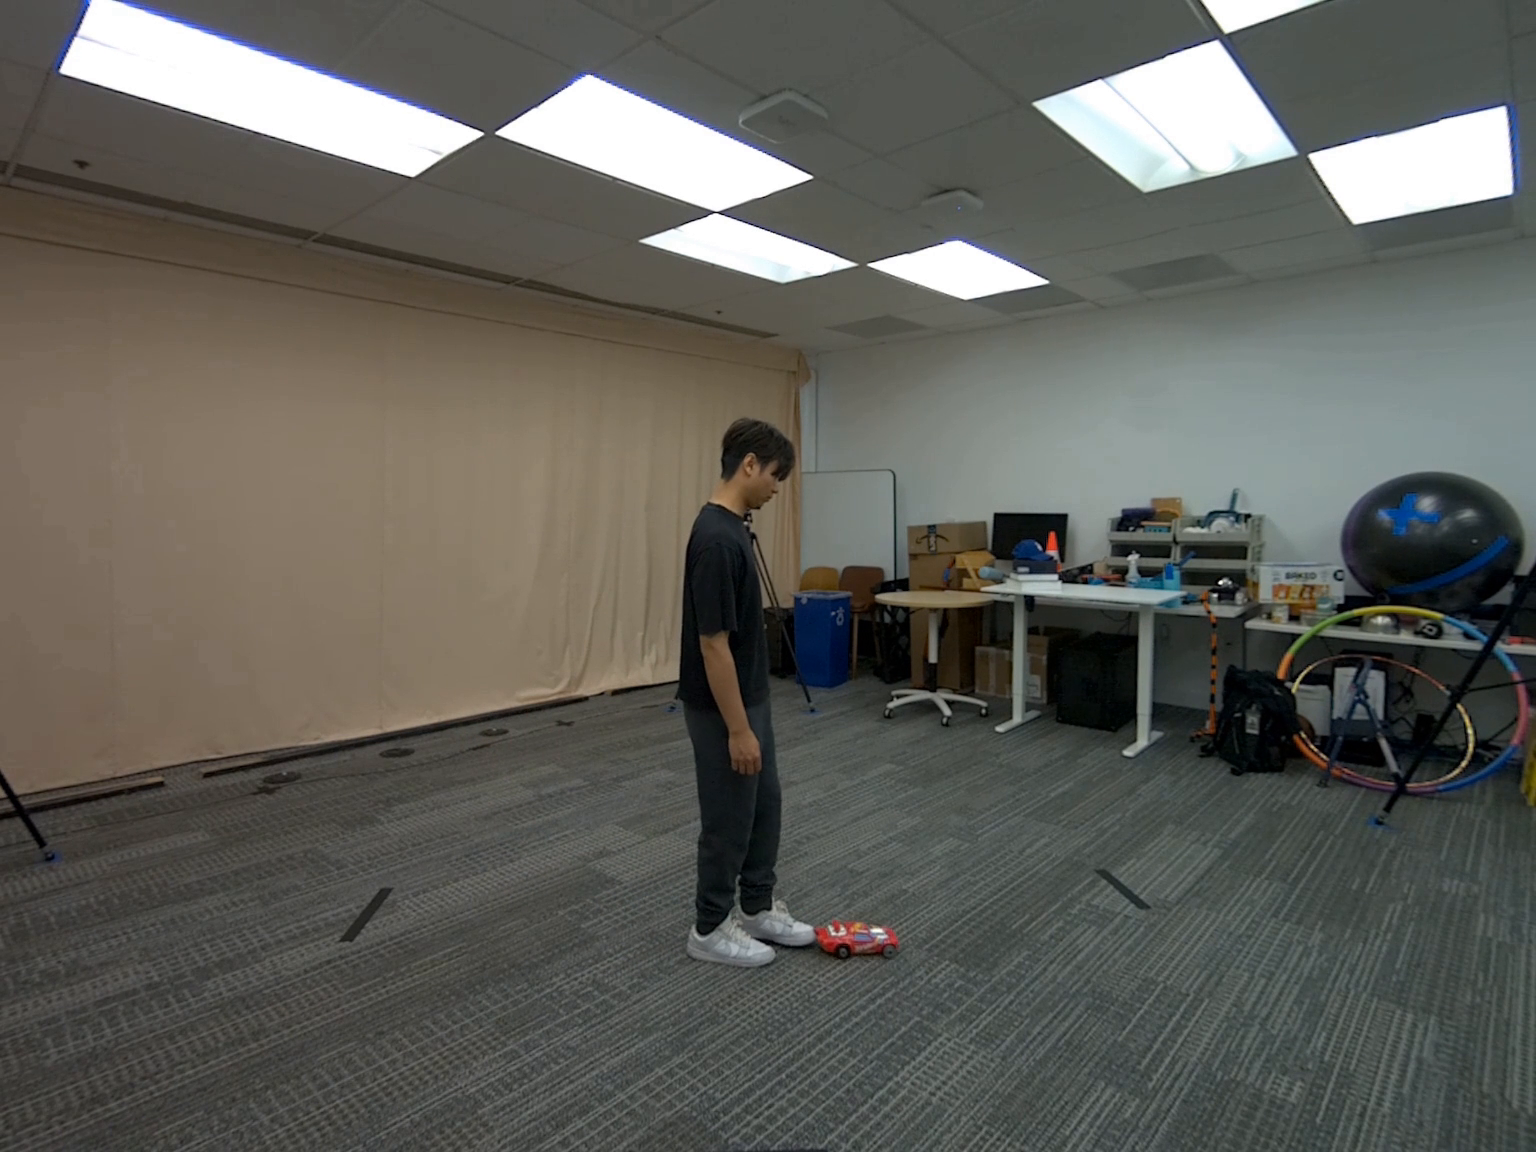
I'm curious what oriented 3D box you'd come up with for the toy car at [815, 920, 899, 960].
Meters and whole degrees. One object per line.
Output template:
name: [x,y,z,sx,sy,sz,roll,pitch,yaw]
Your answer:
toy car: [0.276,1.141,2.631,0.253,0.083,0.131,11,2,-4]
